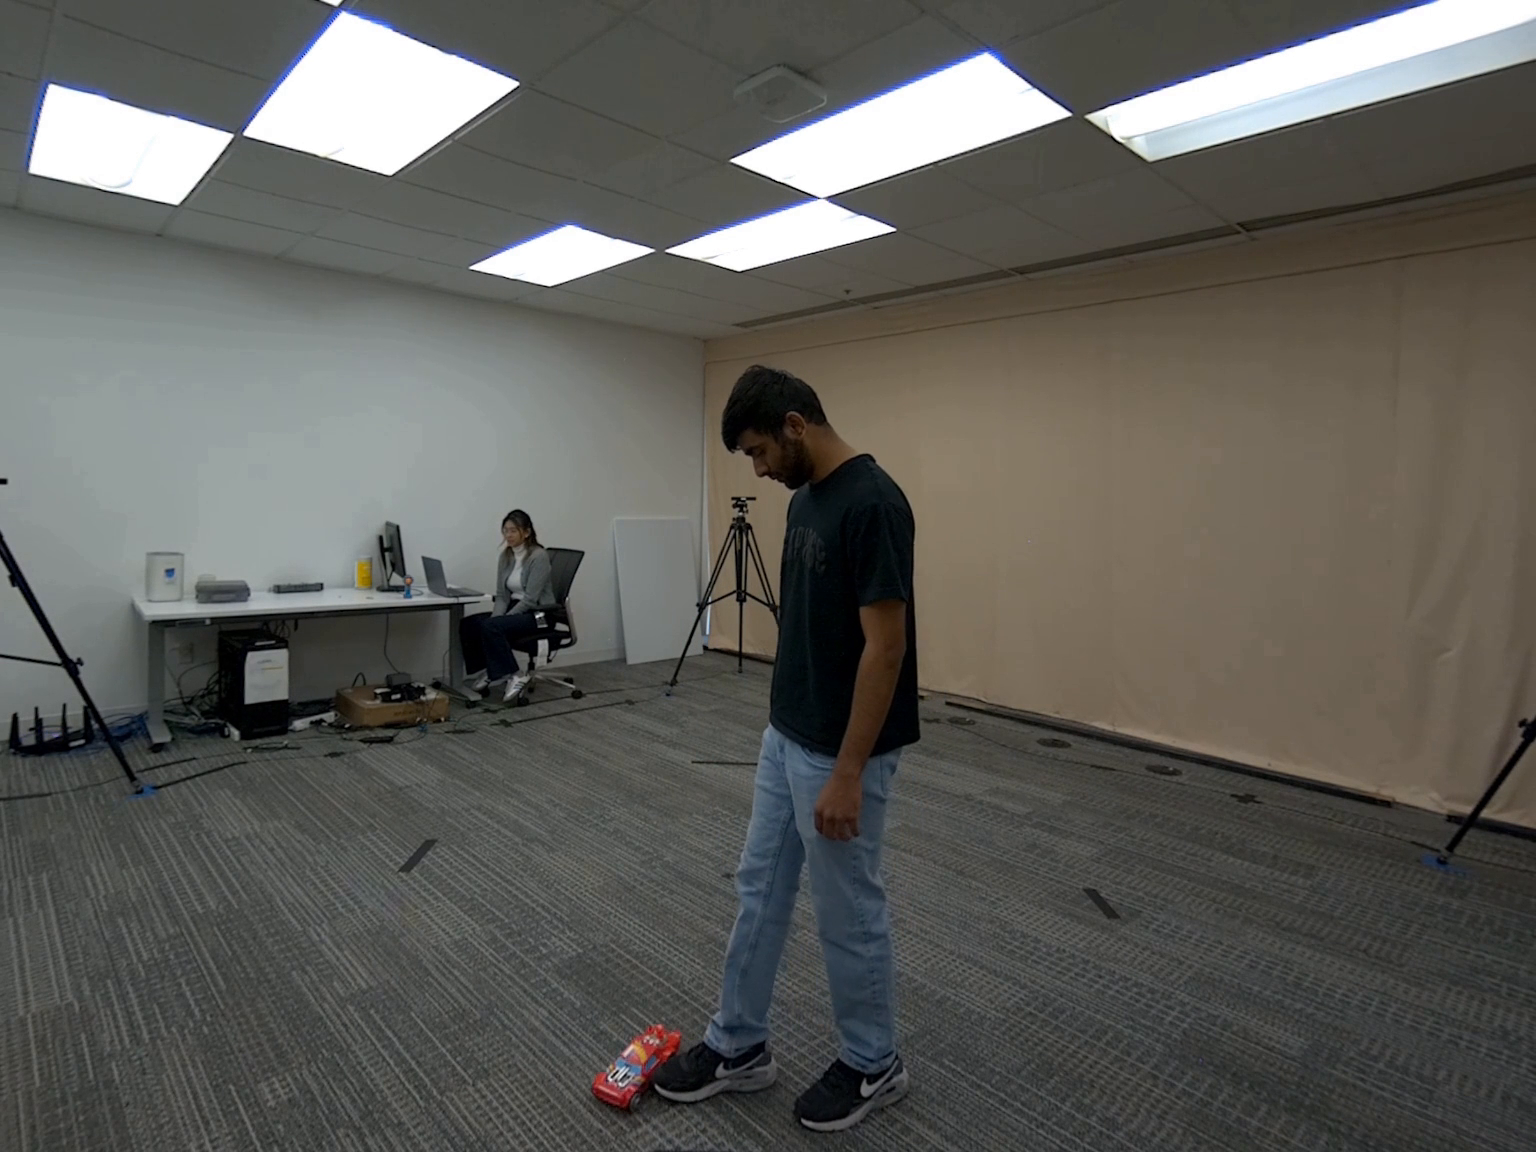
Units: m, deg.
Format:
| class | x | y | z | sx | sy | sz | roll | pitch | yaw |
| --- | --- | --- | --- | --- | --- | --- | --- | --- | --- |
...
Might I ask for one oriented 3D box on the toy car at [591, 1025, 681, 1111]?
| class | x | y | z | sx | sy | sz | roll | pitch | yaw |
| --- | --- | --- | --- | --- | --- | --- | --- | --- | --- |
| toy car | -0.304 | 1.175 | 2.007 | 0.133 | 0.082 | 0.252 | 3 | 17 | 27 |
